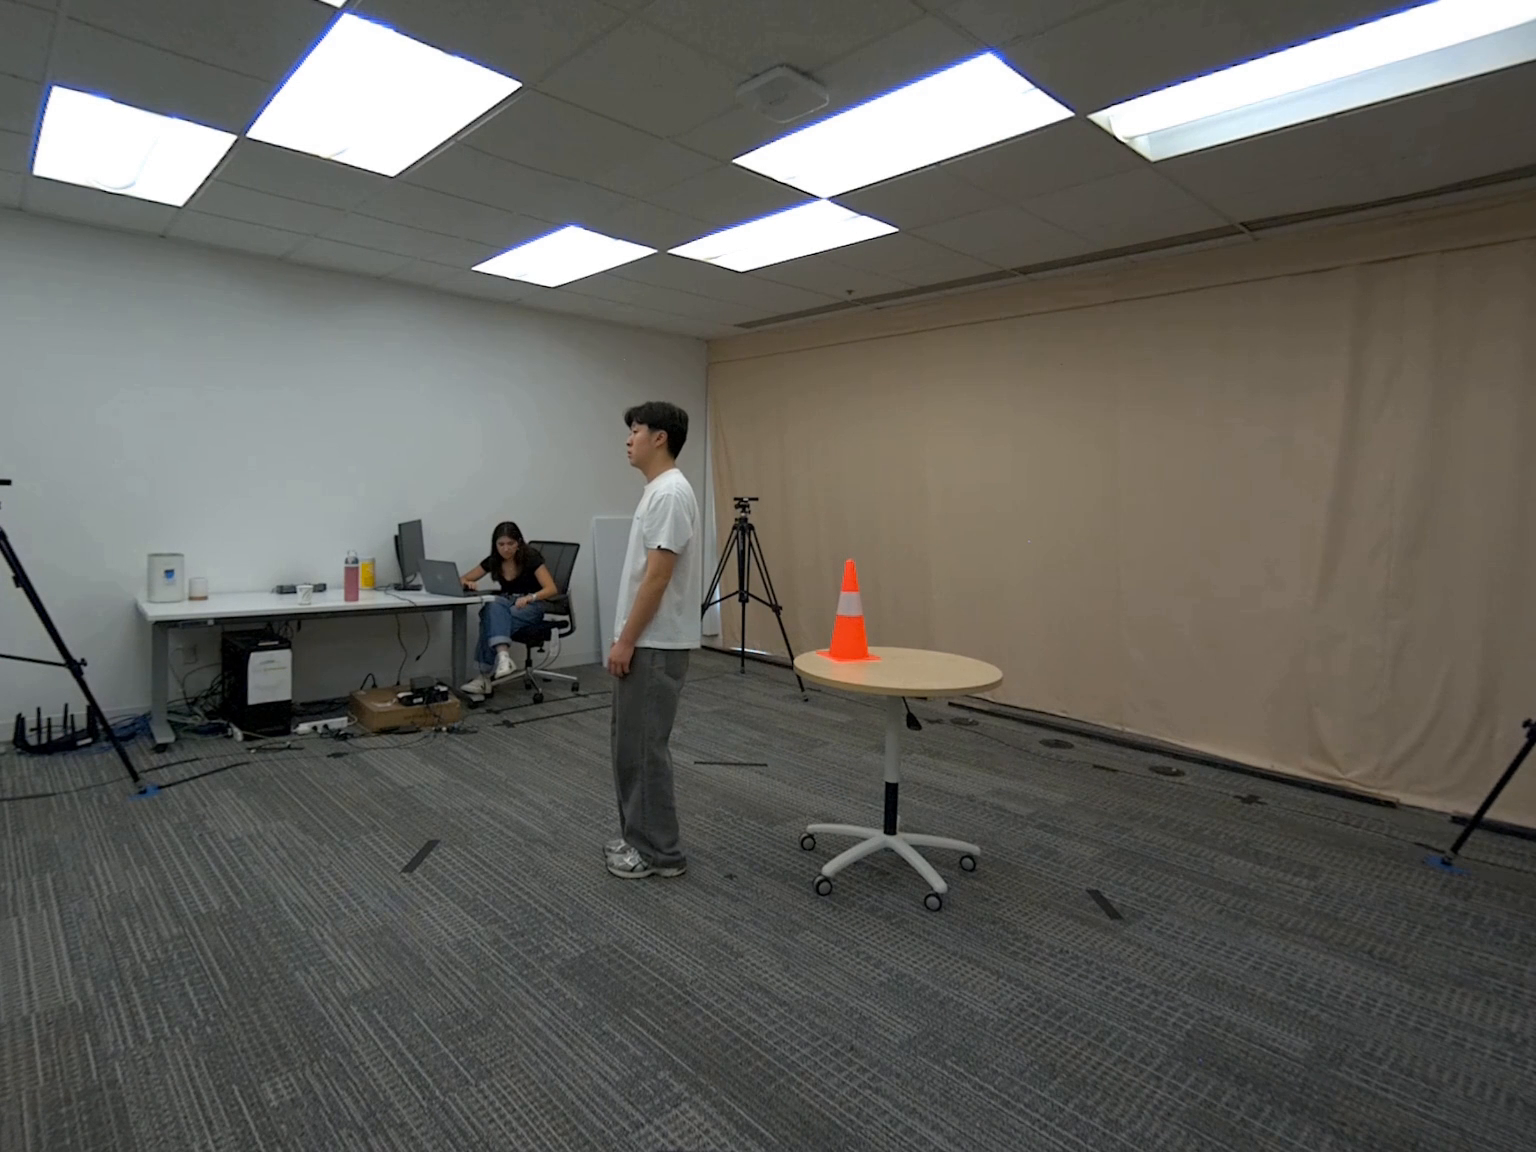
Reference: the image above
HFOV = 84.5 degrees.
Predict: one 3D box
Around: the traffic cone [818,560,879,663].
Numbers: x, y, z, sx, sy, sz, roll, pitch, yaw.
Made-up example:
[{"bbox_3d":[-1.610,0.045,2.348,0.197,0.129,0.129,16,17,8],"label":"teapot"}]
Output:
[{"bbox_3d":[0.300,0.130,3.299,0.199,0.382,0.210,-3,8,-30],"label":"traffic cone"}]
